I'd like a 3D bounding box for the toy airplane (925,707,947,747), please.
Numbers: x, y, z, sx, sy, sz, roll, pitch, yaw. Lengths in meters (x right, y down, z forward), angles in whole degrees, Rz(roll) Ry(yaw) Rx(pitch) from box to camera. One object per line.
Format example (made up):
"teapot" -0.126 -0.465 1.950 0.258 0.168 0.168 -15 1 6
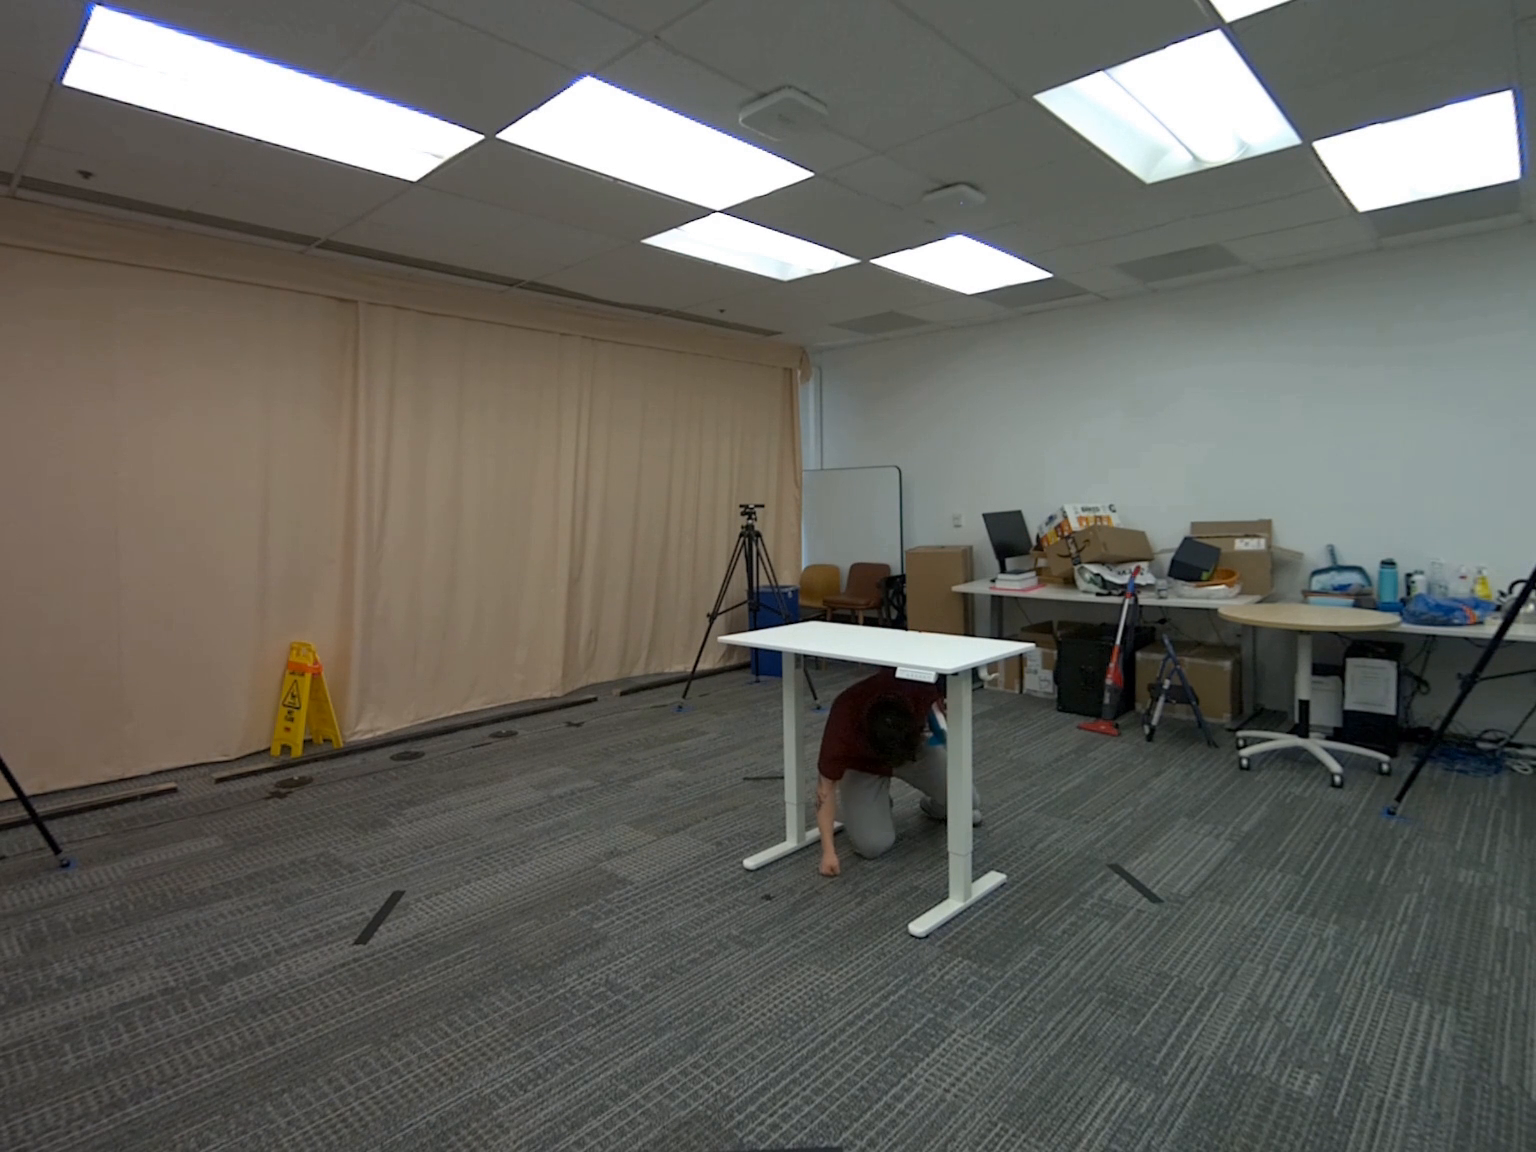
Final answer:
"toy airplane" 0.683 0.551 3.382 0.157 0.247 0.262 -9 21 4
